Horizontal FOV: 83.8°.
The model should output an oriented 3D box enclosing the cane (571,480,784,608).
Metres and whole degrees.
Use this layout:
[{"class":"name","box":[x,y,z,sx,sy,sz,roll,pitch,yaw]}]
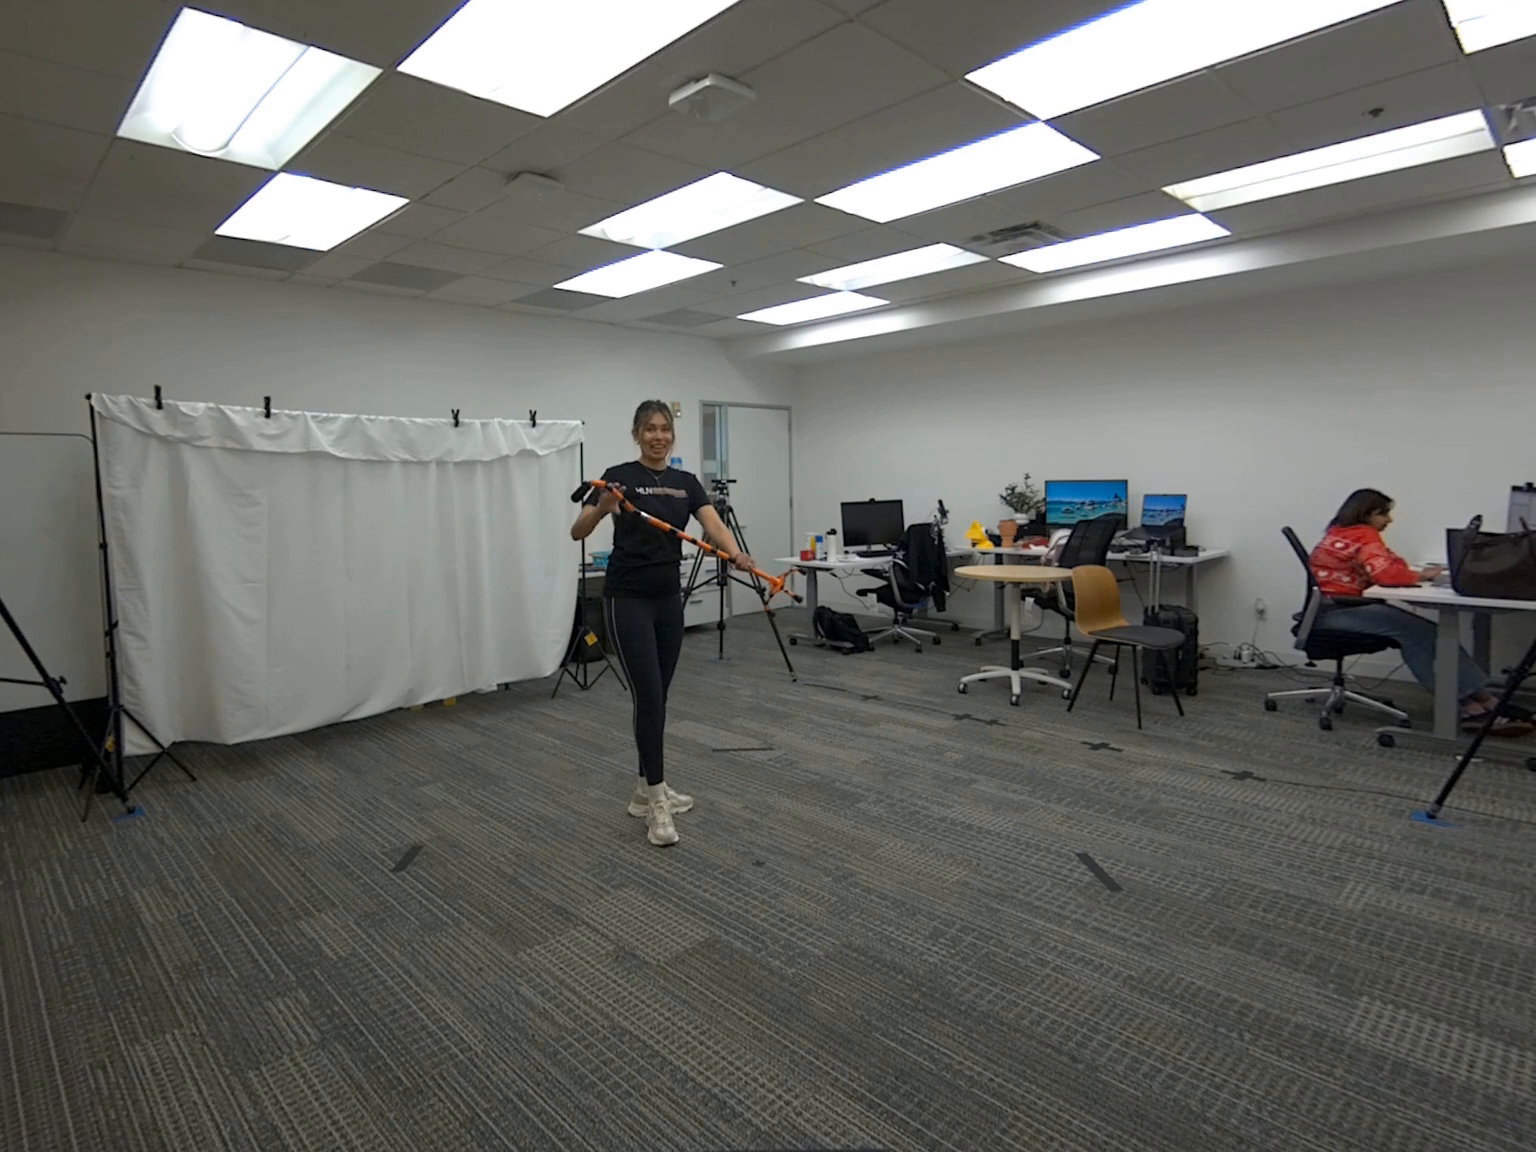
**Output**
[{"class":"cane","box":[-0.280,-0.104,3.127,0.885,0.154,0.208,26,-32,-22]}]
